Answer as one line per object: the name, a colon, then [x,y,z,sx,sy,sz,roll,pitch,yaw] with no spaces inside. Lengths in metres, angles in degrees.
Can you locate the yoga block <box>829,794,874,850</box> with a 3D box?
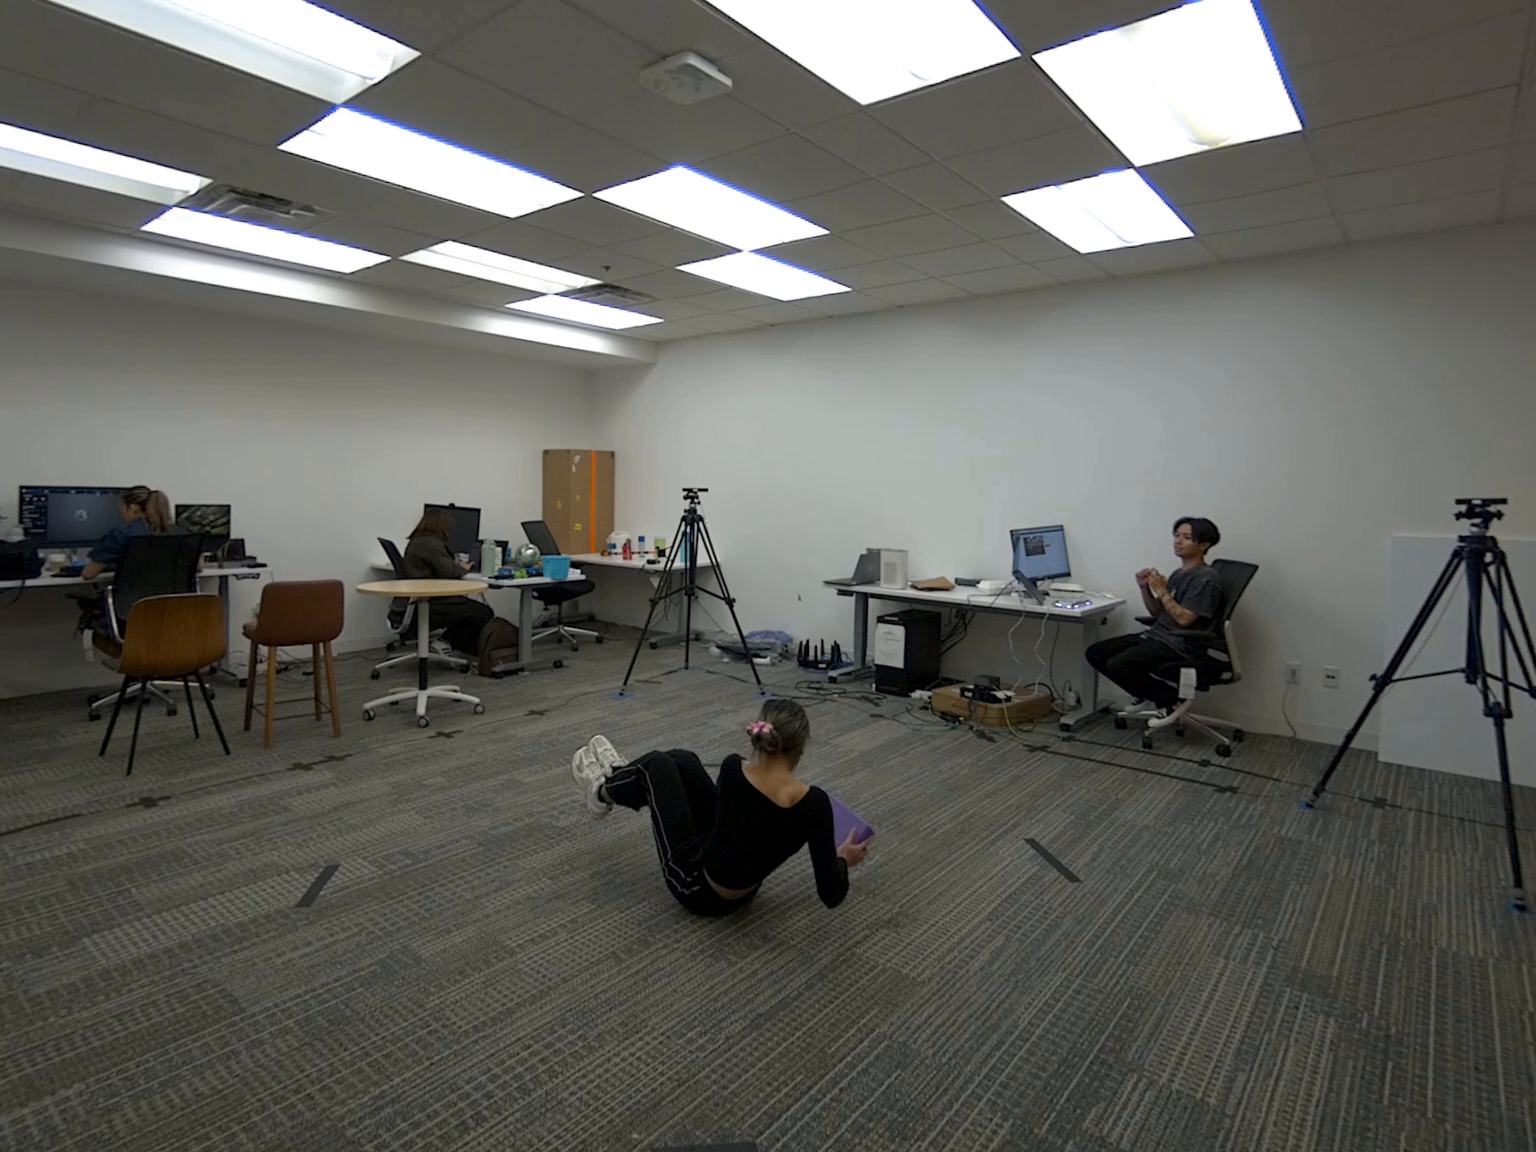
yoga block: [0.227,0.861,2.938,0.239,0.149,0.073,31,-17,41]
